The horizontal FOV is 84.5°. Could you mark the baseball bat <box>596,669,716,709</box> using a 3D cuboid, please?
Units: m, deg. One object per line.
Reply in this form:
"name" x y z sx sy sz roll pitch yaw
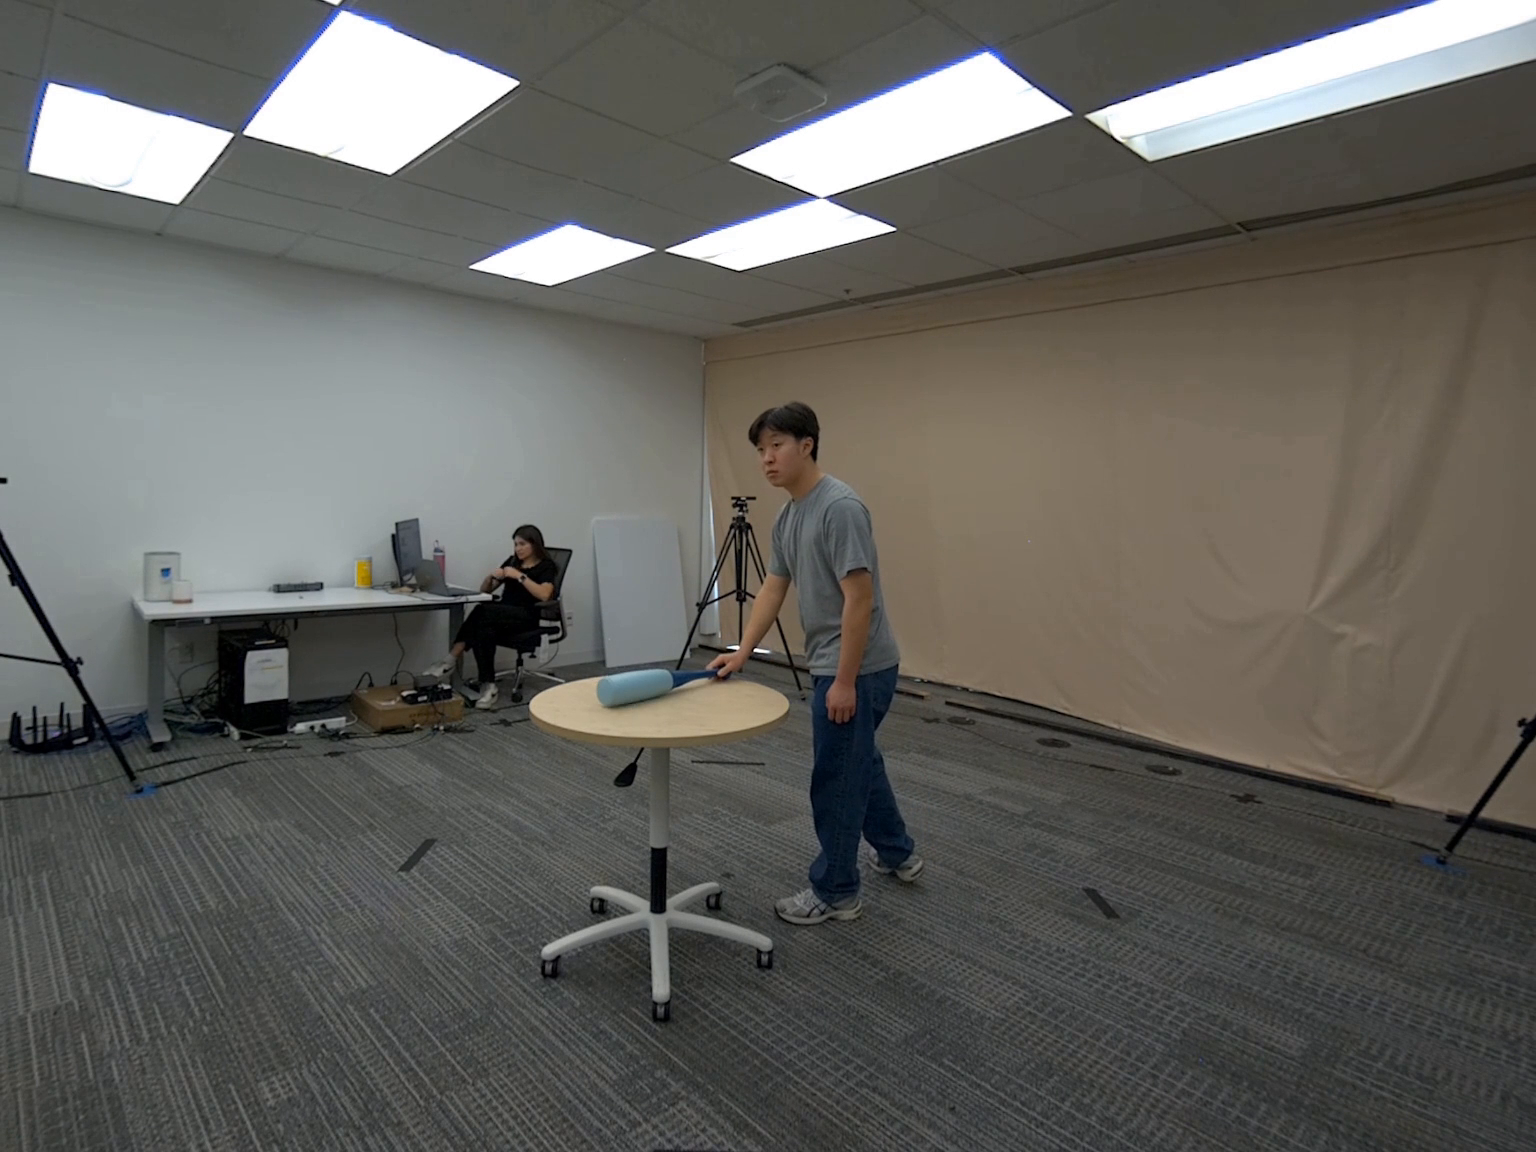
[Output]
"baseball bat" -0.301 0.324 2.612 0.091 0.089 0.531 5 5 39
